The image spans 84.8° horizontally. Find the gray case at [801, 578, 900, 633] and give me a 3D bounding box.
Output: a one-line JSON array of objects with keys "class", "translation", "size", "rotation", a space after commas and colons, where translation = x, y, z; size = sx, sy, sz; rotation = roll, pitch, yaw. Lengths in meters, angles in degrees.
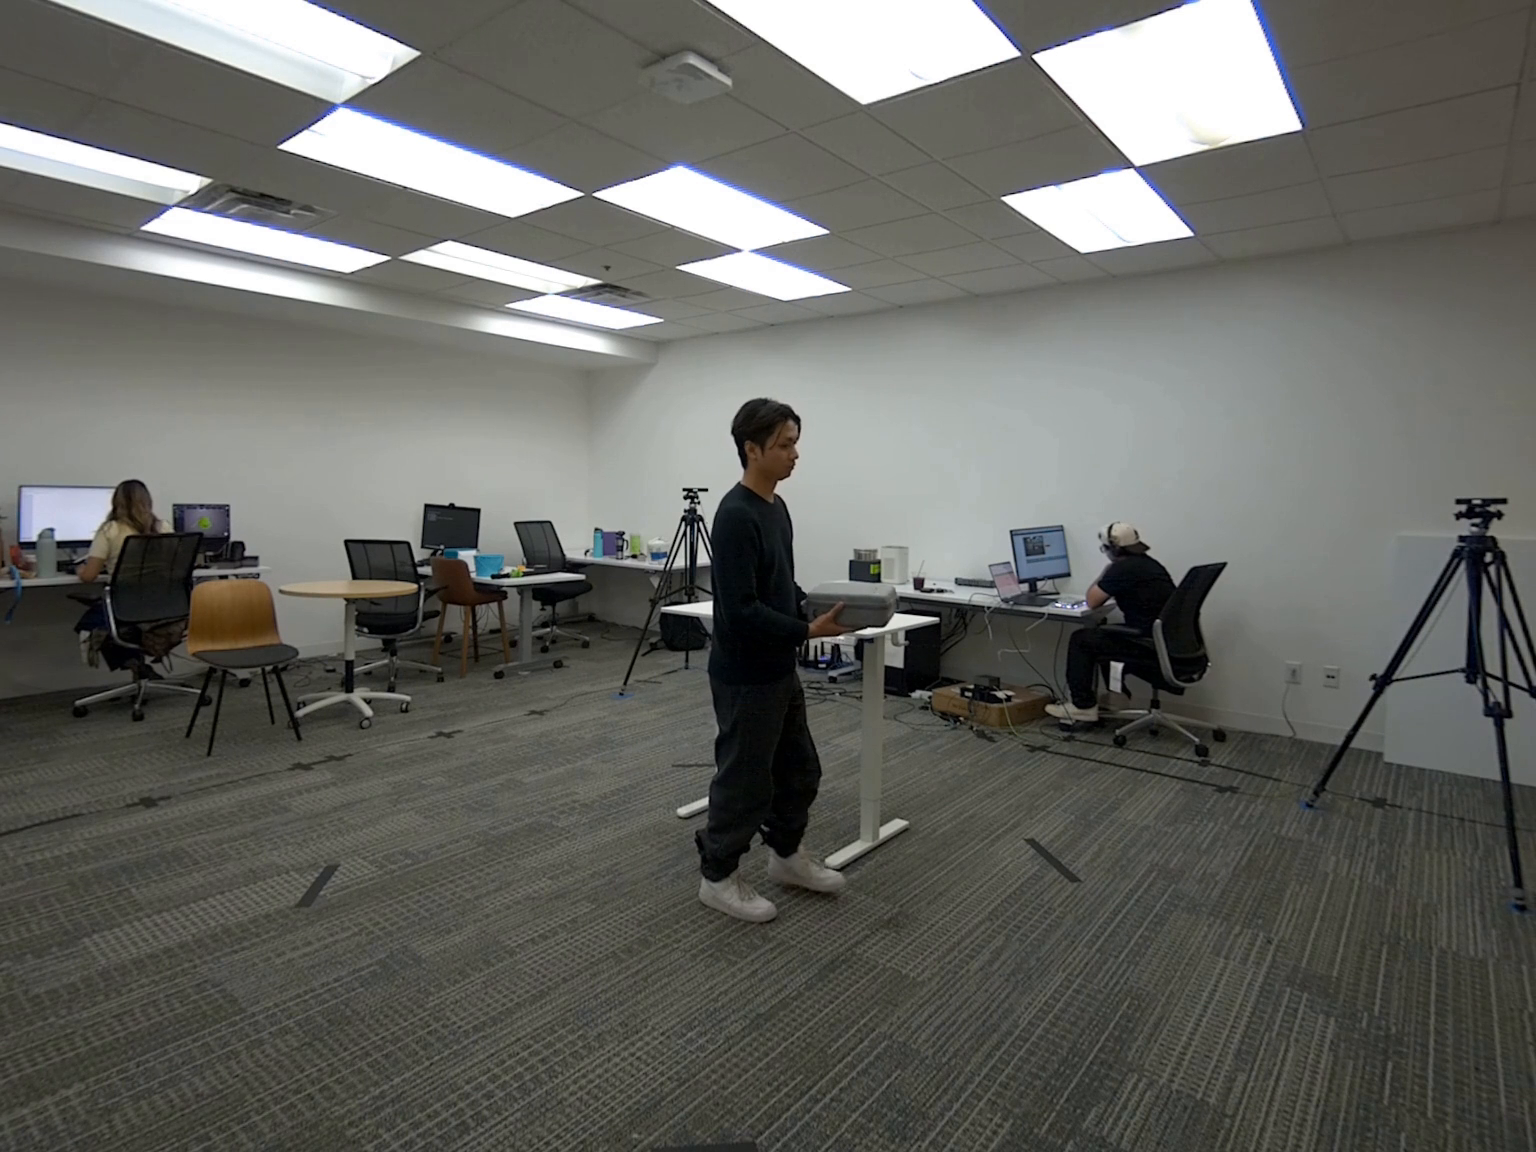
[{"class": "gray case", "translation": [0.256, 0.087, 2.655], "size": [0.263, 0.103, 0.256], "rotation": [4, 9, 22]}]
